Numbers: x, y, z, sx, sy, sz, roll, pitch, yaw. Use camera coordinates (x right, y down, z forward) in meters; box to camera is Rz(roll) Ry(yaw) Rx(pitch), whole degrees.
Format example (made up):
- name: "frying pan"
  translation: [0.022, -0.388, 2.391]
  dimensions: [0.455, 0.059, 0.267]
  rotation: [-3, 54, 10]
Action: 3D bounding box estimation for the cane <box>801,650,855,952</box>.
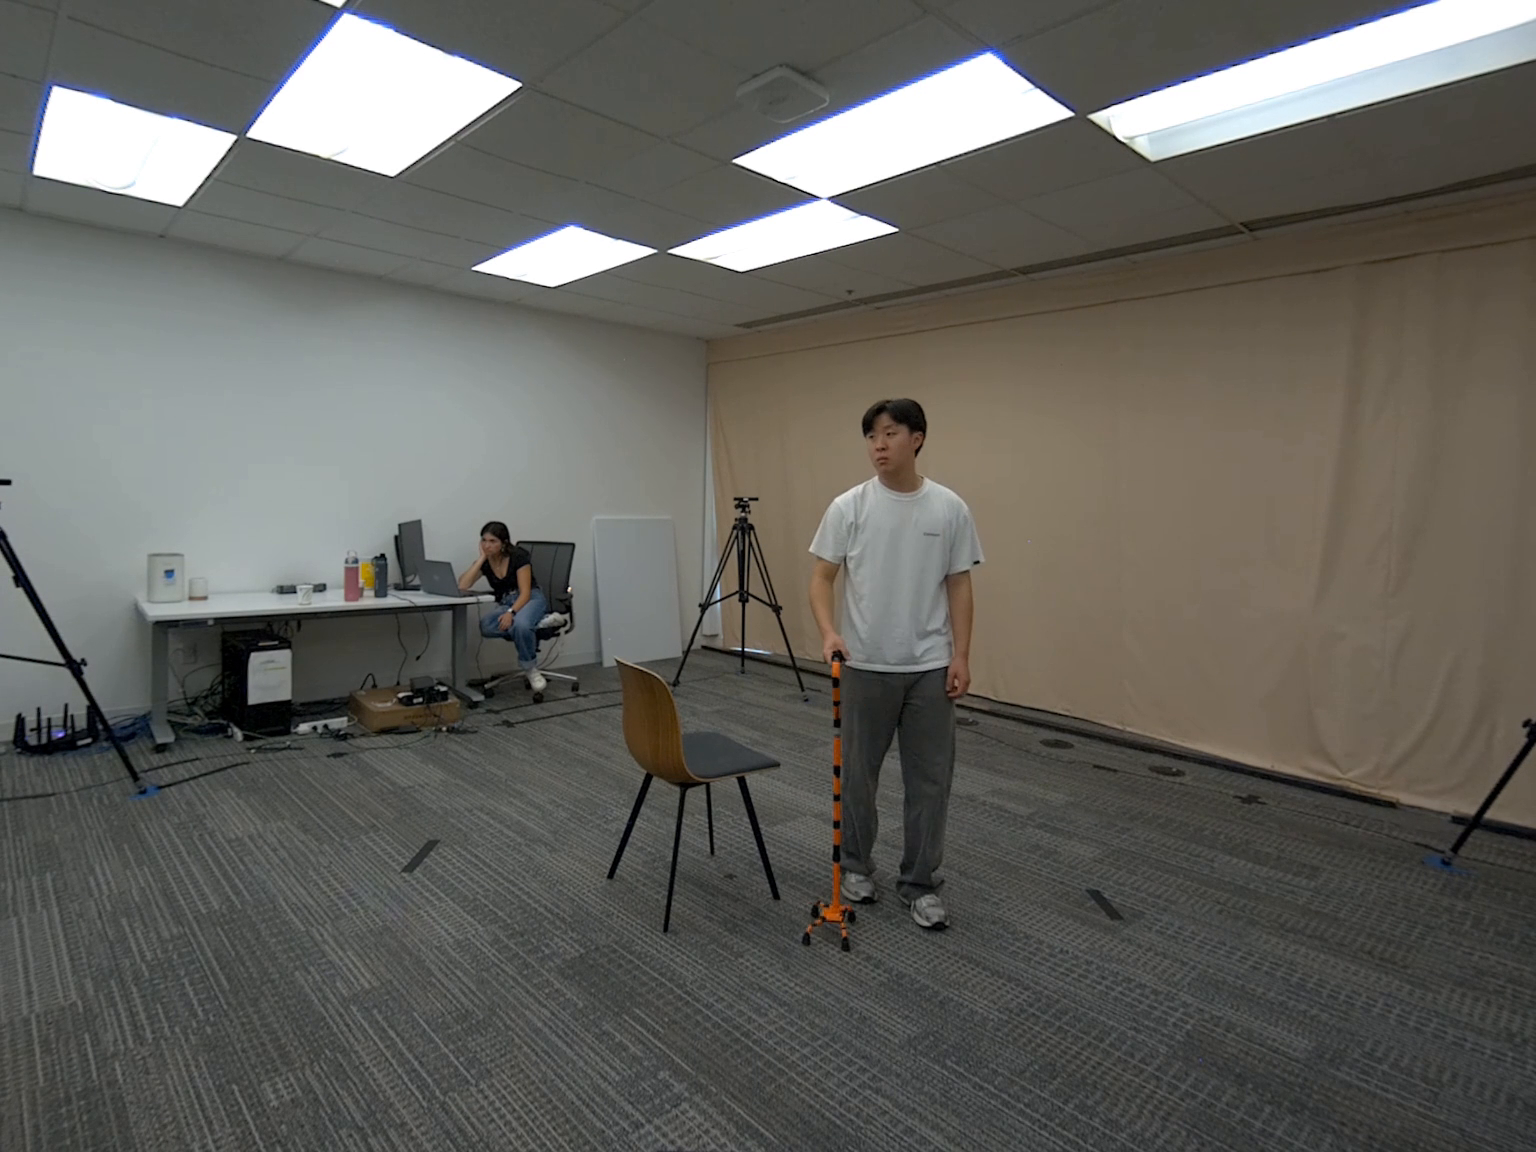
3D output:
- name: "cane"
  translation: [0.196, 0.690, 2.660]
  dimensions: [0.152, 0.904, 0.206]
  rotation: [2, 5, 7]
